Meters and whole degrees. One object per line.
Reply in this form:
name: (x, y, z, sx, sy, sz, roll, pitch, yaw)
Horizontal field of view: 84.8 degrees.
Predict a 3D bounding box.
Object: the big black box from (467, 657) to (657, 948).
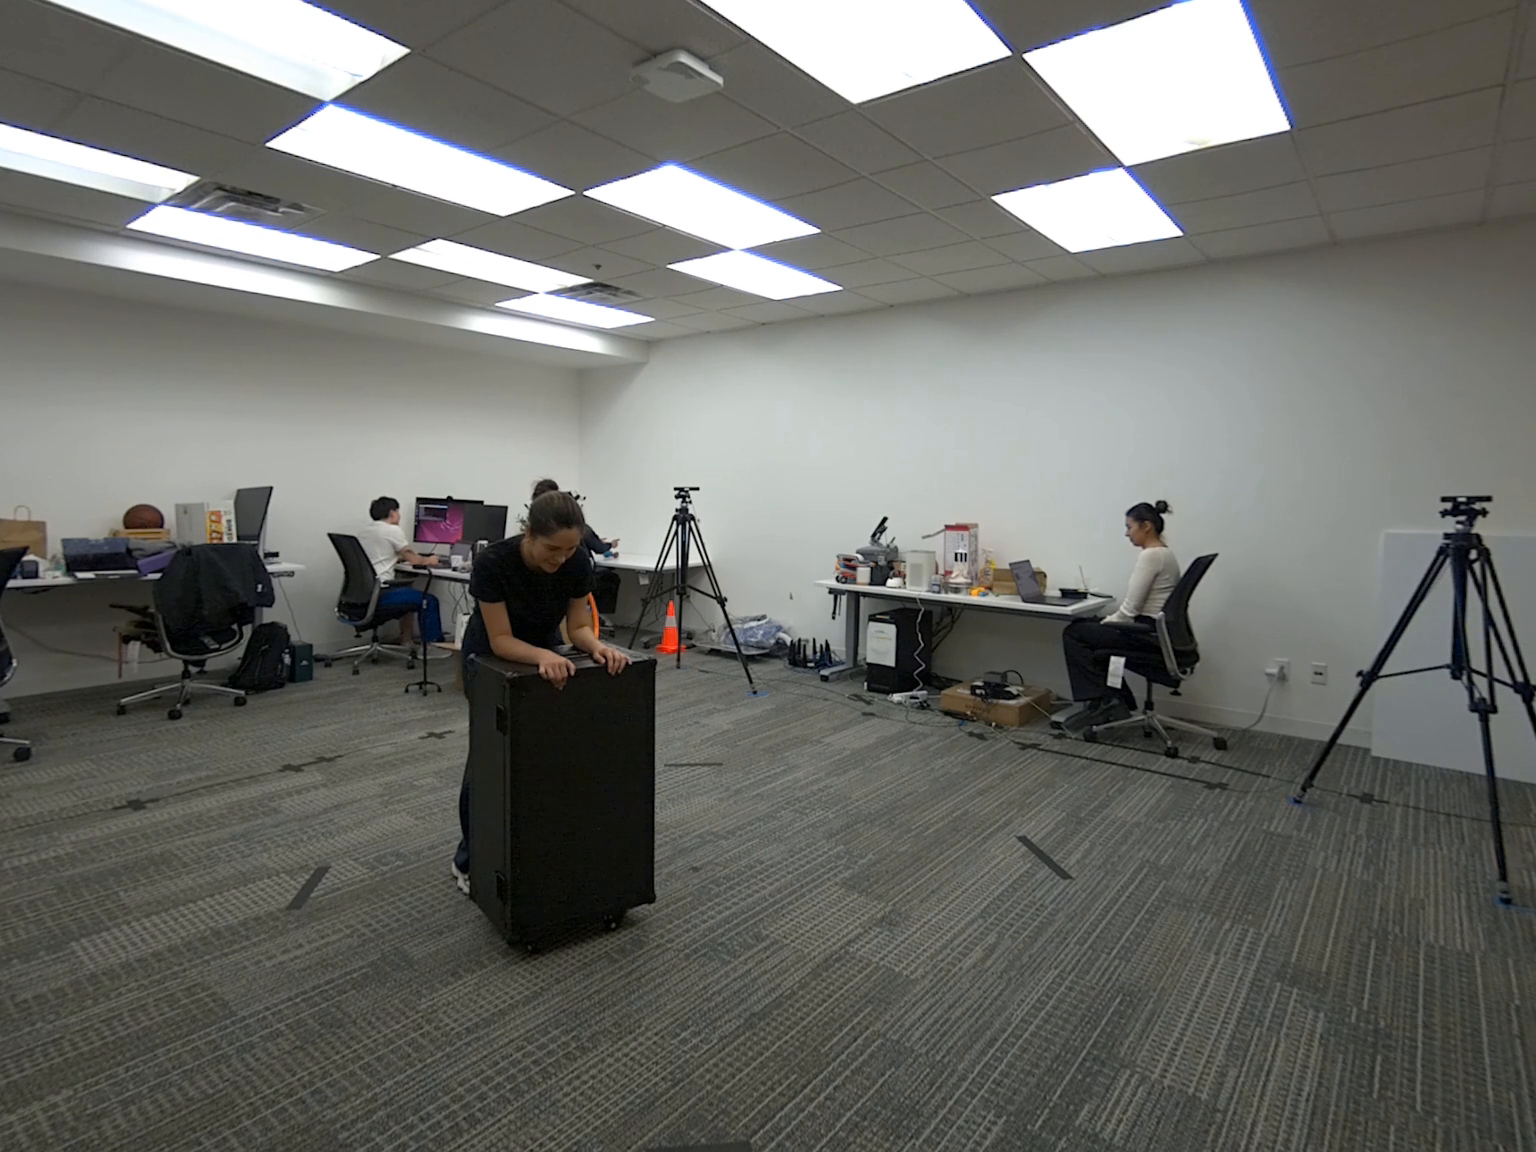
big black box: (-0.648, 0.612, 2.716, 0.506, 0.859, 0.409, -2, 4, -36)
